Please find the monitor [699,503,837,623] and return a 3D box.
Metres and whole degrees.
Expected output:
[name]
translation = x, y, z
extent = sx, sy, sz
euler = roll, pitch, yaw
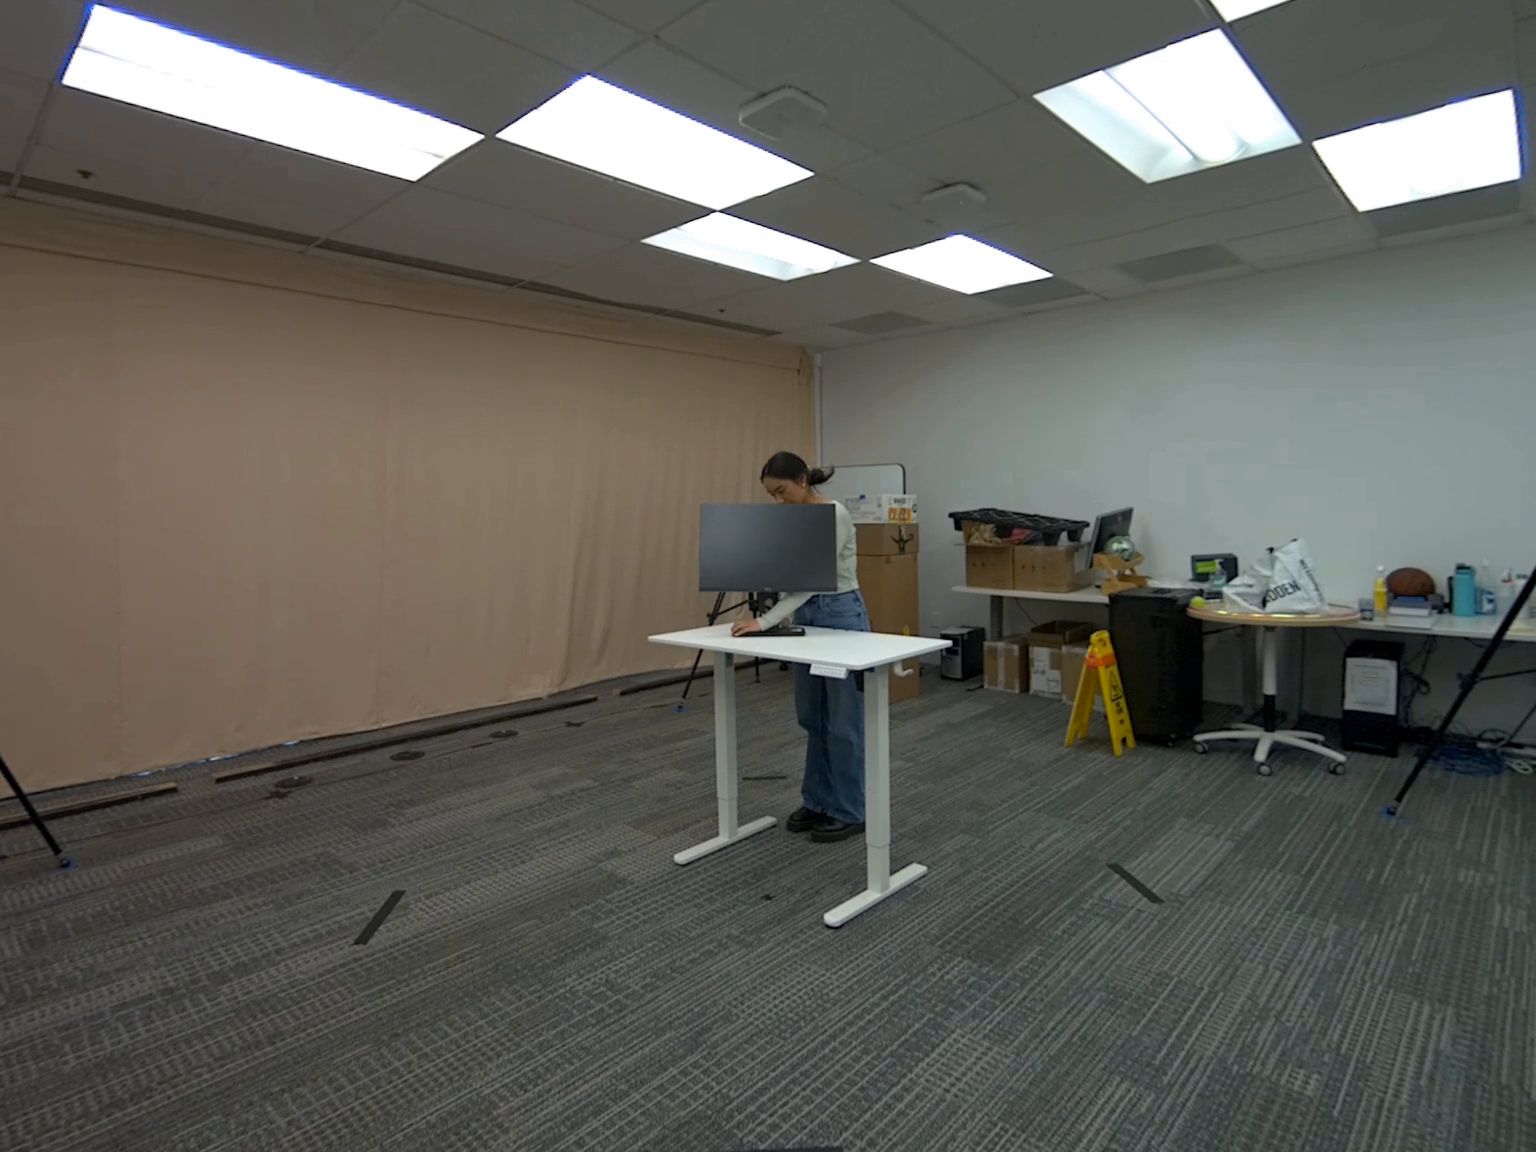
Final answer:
[monitor]
translation = -0.003, -0.027, 3.326
extent = 0.531, 0.514, 0.175
euler = 1, 5, 1
